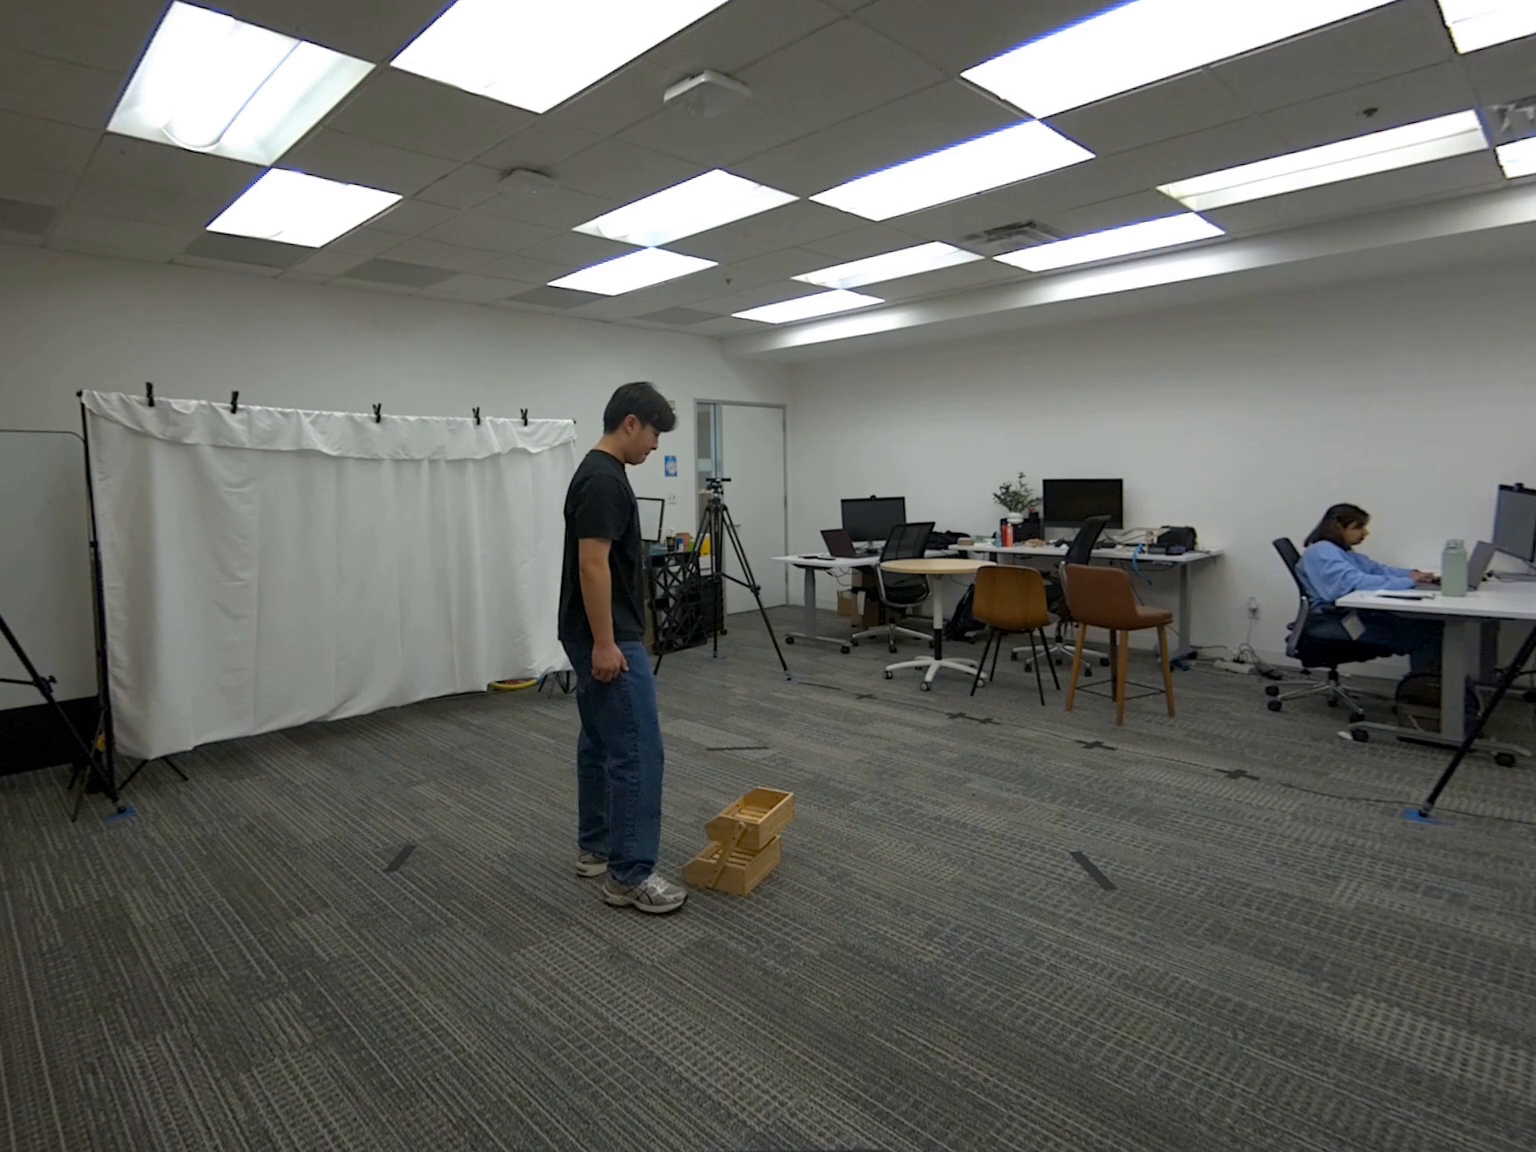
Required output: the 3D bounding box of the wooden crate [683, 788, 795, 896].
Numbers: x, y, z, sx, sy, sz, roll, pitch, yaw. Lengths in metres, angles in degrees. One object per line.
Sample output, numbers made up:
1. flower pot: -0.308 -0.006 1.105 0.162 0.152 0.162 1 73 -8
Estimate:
1. wooden crate: -0.108 0.917 3.025 0.309 0.272 0.318 2 6 27
